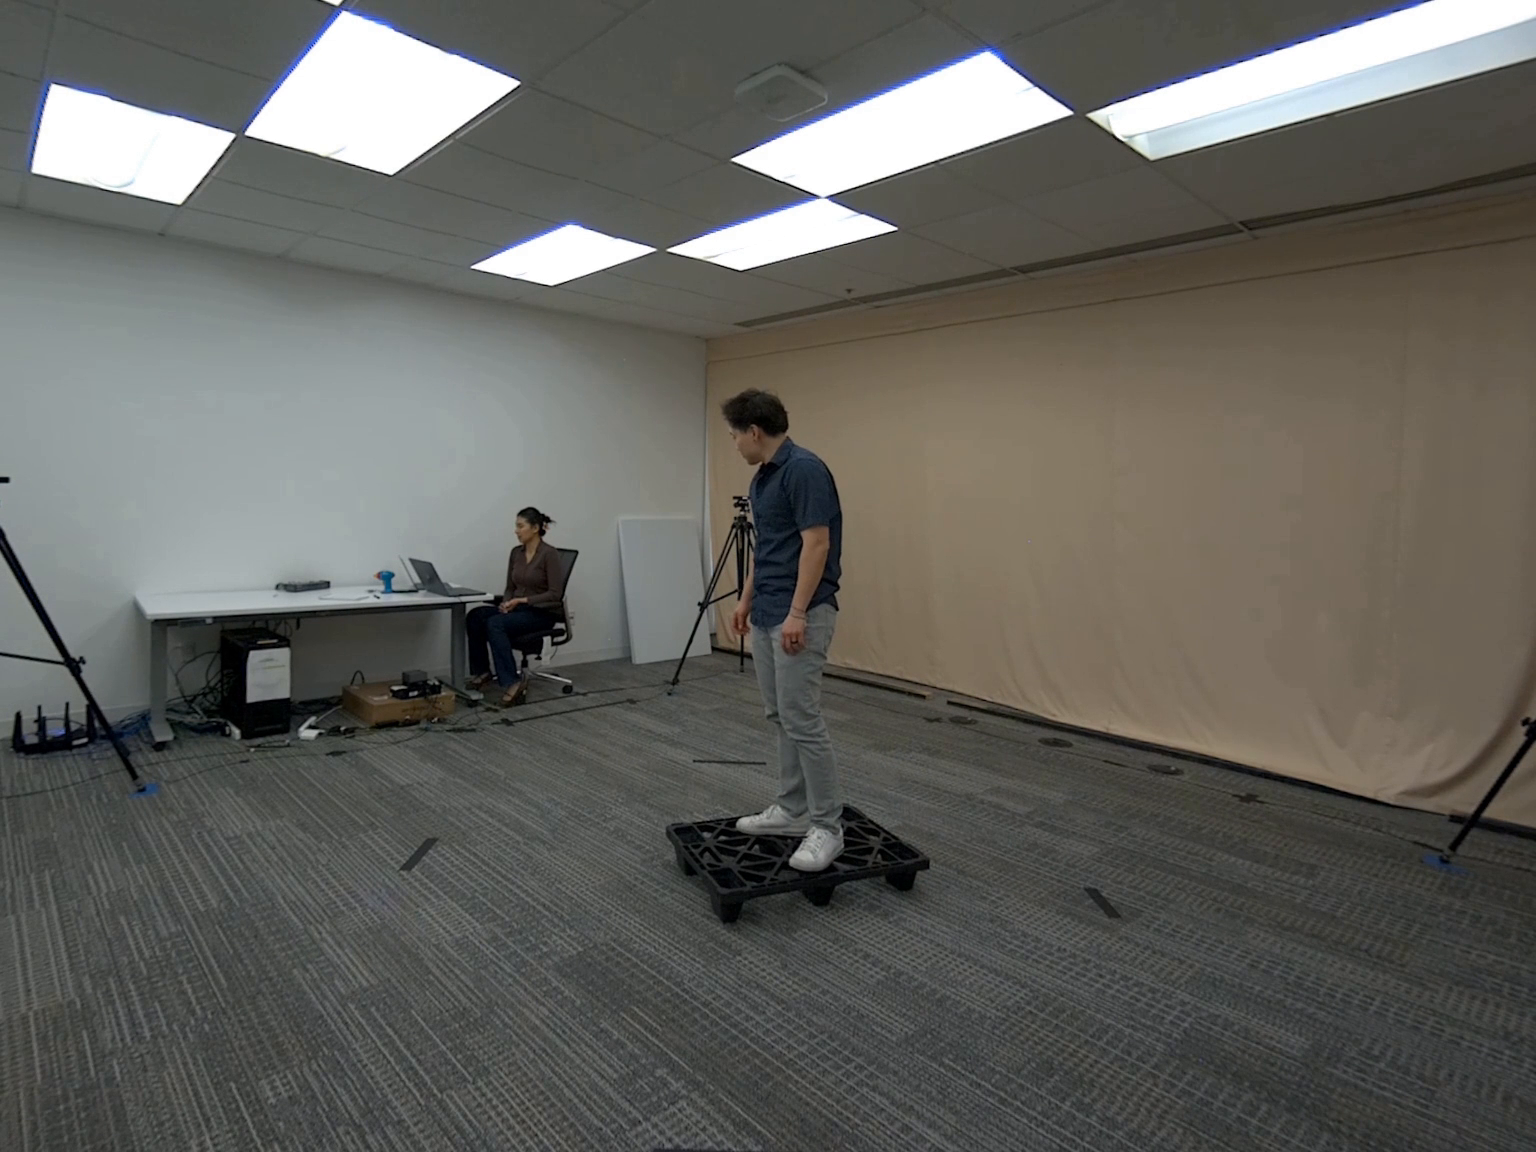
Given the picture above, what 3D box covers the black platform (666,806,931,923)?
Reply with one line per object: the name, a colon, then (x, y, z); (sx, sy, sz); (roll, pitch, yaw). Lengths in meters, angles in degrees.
black platform: (0.091, 1.043, 3.091); (0.792, 0.143, 0.617); (-1, 6, -23)
